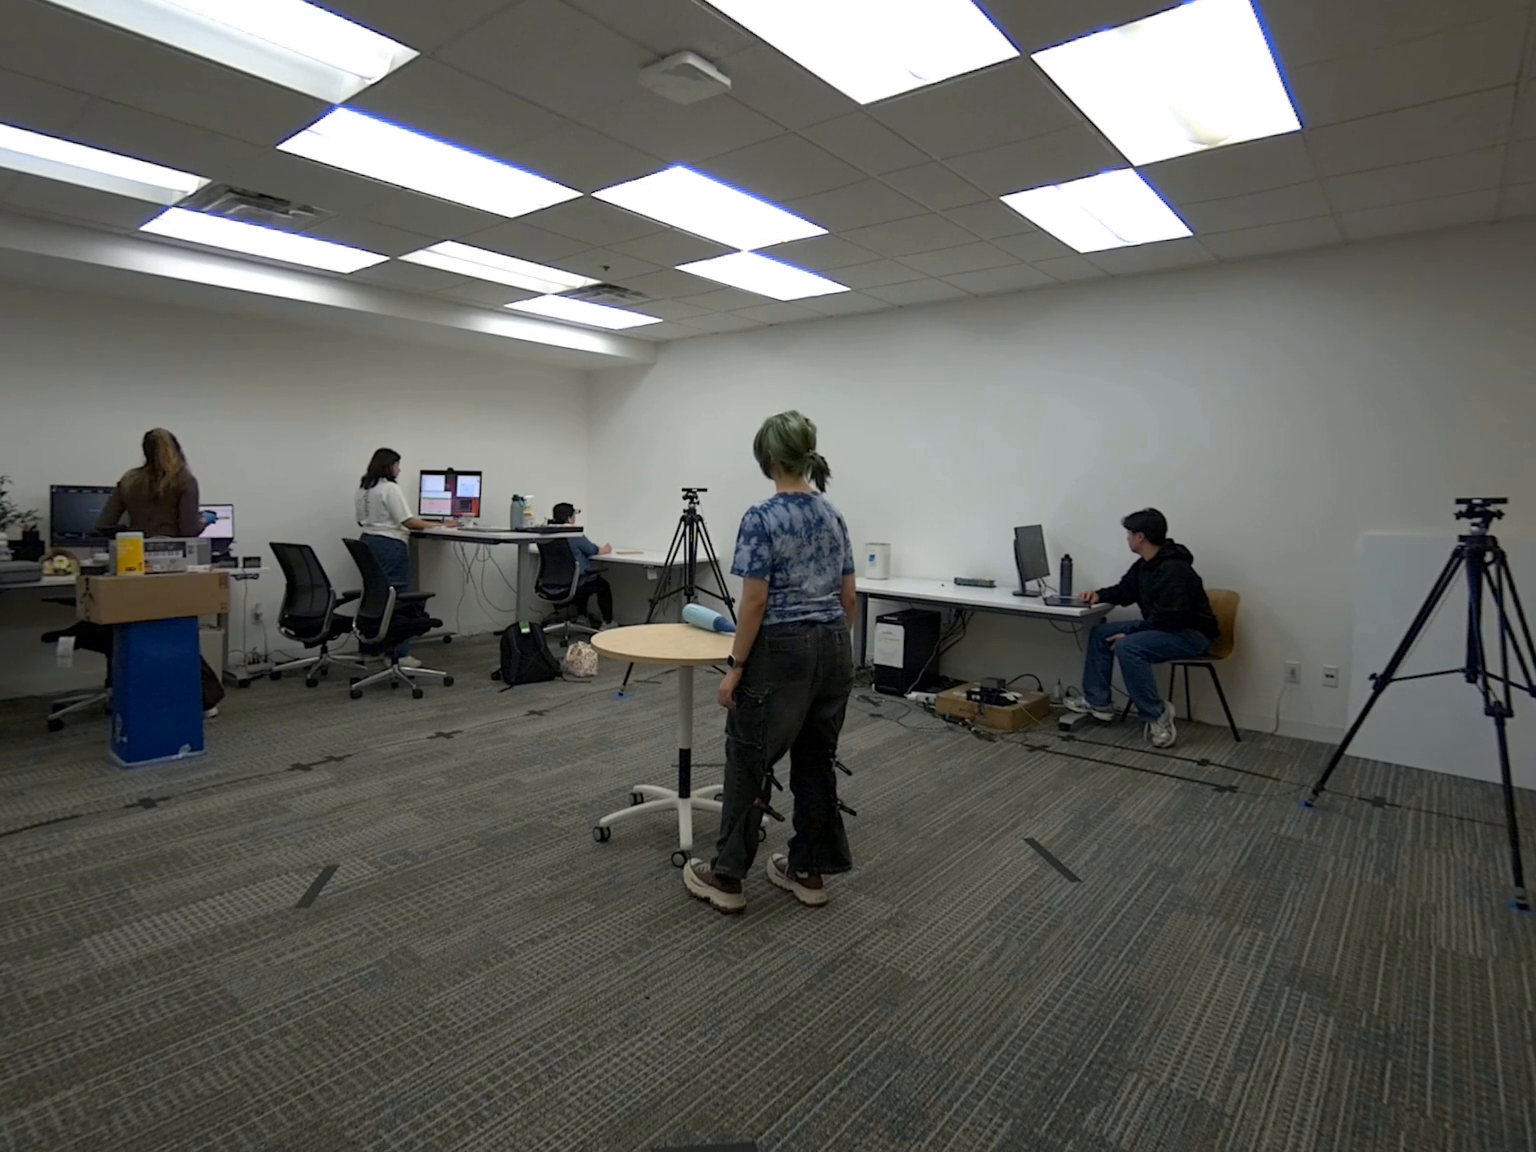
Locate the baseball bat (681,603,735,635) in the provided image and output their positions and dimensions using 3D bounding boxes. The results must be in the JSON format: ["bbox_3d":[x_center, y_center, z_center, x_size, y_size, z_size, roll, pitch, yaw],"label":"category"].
[{"bbox_3d":[-0.201,0.207,3.576,0.086,0.088,0.562,-2,10,-35],"label":"baseball bat"}]
